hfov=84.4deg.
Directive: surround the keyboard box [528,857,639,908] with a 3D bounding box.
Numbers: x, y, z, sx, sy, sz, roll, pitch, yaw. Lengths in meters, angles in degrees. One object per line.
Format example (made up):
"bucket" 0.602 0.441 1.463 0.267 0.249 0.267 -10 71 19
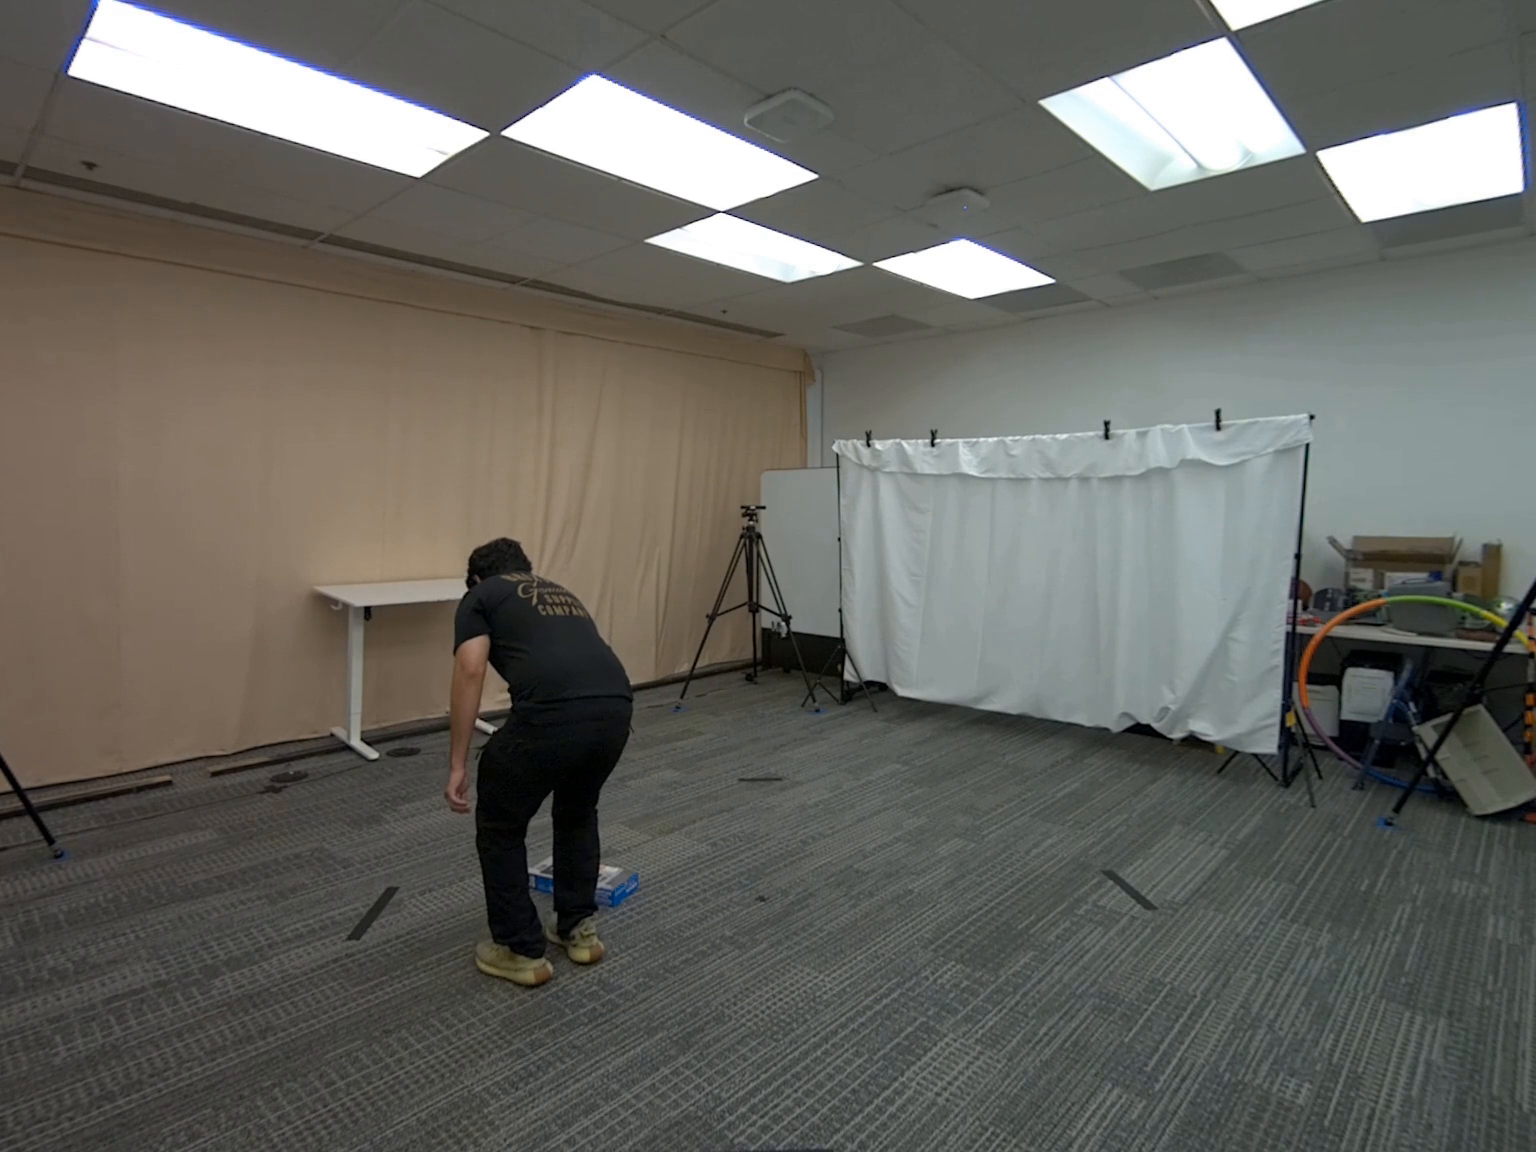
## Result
"keyboard box" -0.709 1.112 3.093 0.448 0.059 0.172 1 4 25
